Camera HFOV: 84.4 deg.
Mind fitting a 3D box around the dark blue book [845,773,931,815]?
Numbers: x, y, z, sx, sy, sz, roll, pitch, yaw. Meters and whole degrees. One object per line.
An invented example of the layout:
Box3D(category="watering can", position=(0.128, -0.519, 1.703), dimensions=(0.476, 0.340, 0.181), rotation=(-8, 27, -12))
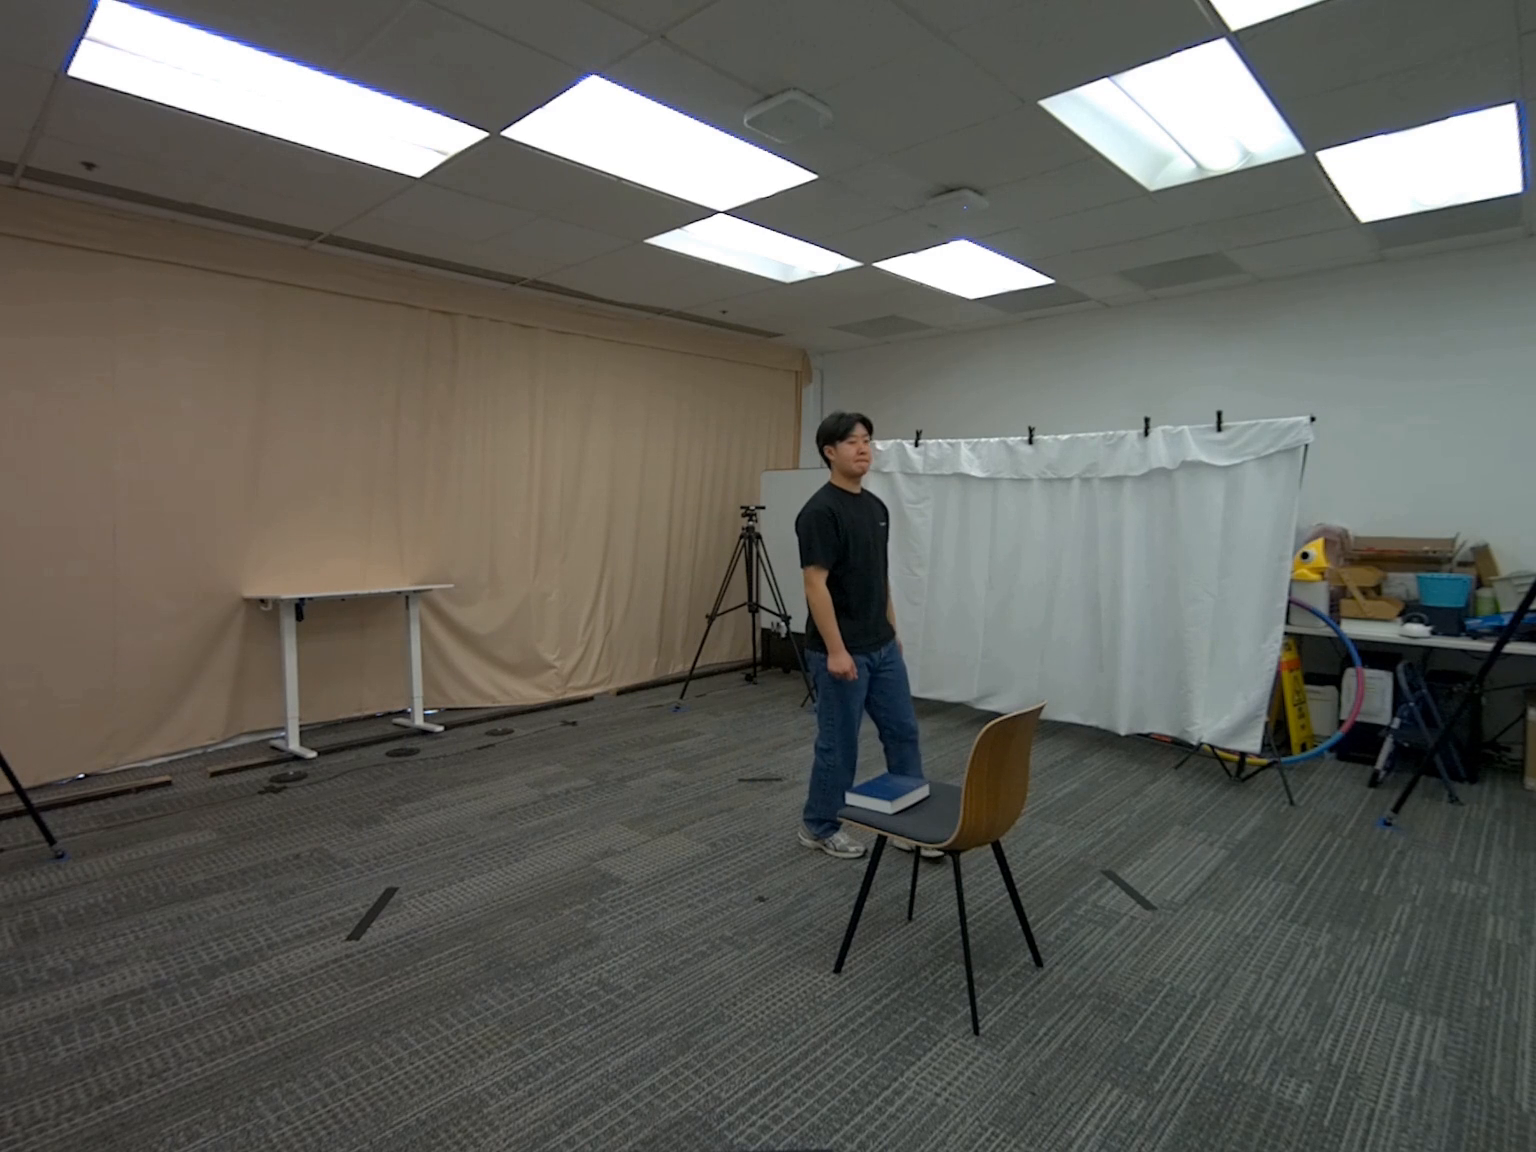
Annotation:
Box3D(category="dark blue book", position=(0.375, 0.664, 2.595), dimensions=(0.168, 0.045, 0.238), rotation=(1, 4, 40))
